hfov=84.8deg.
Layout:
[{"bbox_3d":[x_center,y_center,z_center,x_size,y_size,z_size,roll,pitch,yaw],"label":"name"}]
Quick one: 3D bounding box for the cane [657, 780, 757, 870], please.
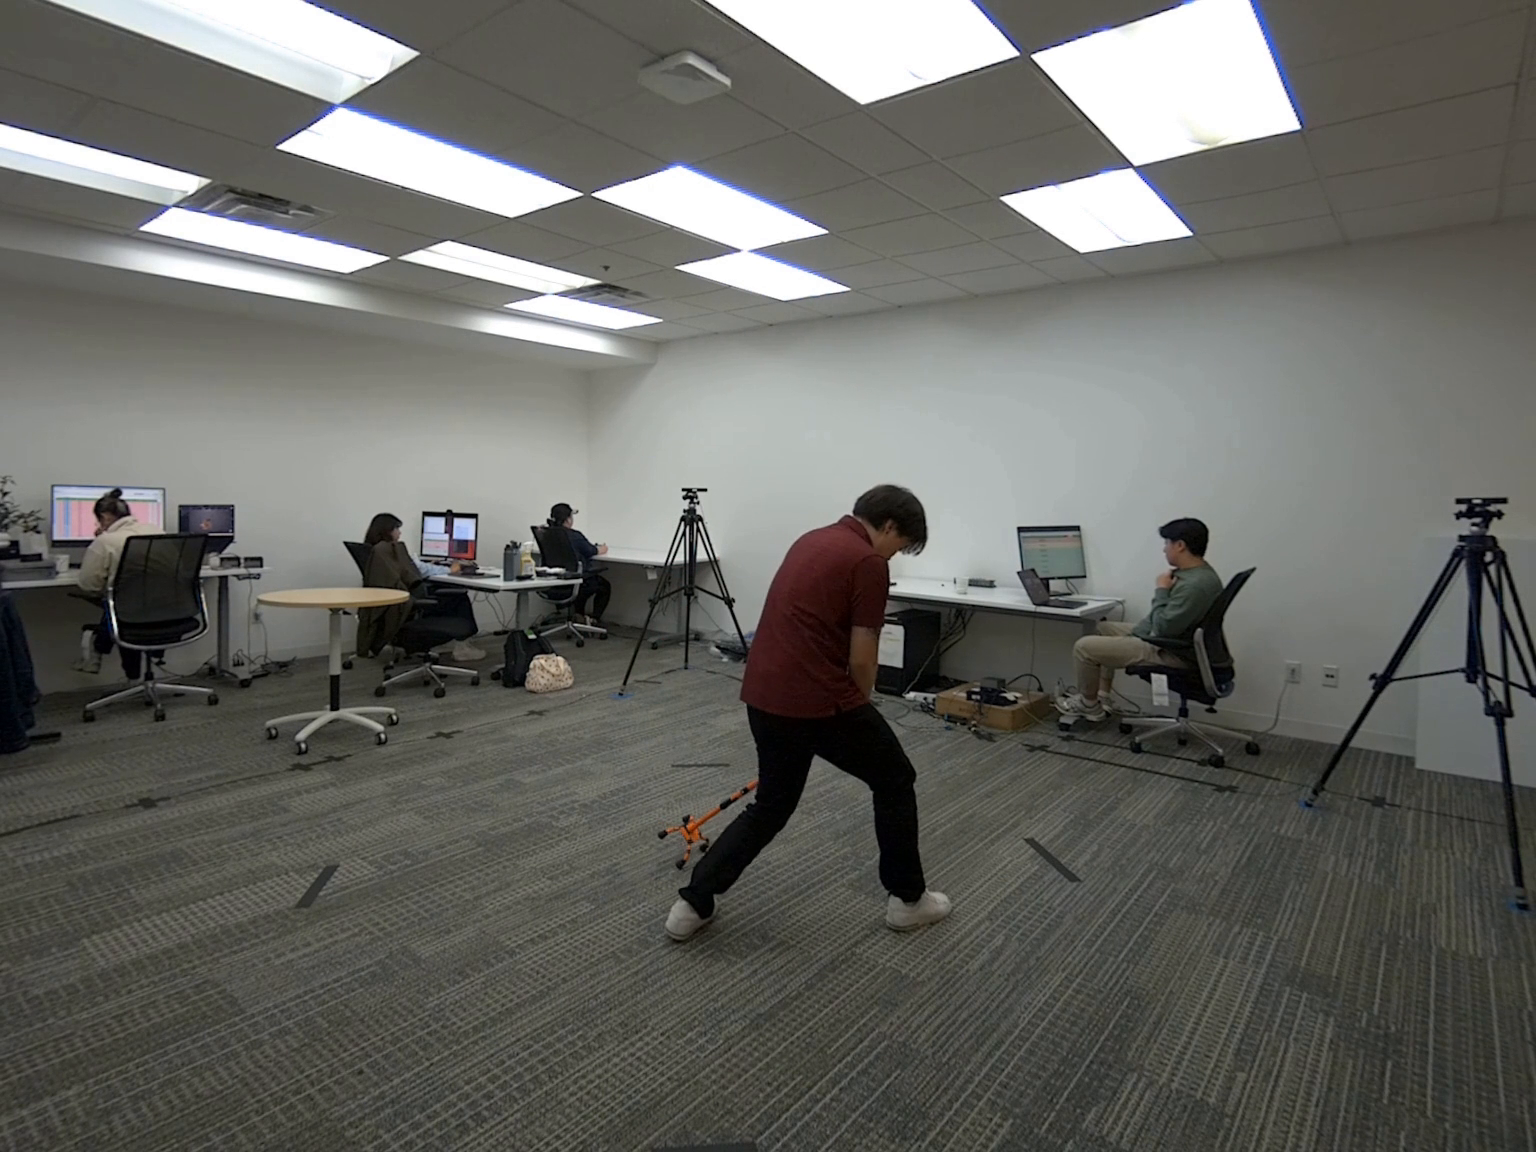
[{"bbox_3d":[-0.018,0.730,3.045,0.911,0.154,0.202,-40,-12,21],"label":"cane"}]
